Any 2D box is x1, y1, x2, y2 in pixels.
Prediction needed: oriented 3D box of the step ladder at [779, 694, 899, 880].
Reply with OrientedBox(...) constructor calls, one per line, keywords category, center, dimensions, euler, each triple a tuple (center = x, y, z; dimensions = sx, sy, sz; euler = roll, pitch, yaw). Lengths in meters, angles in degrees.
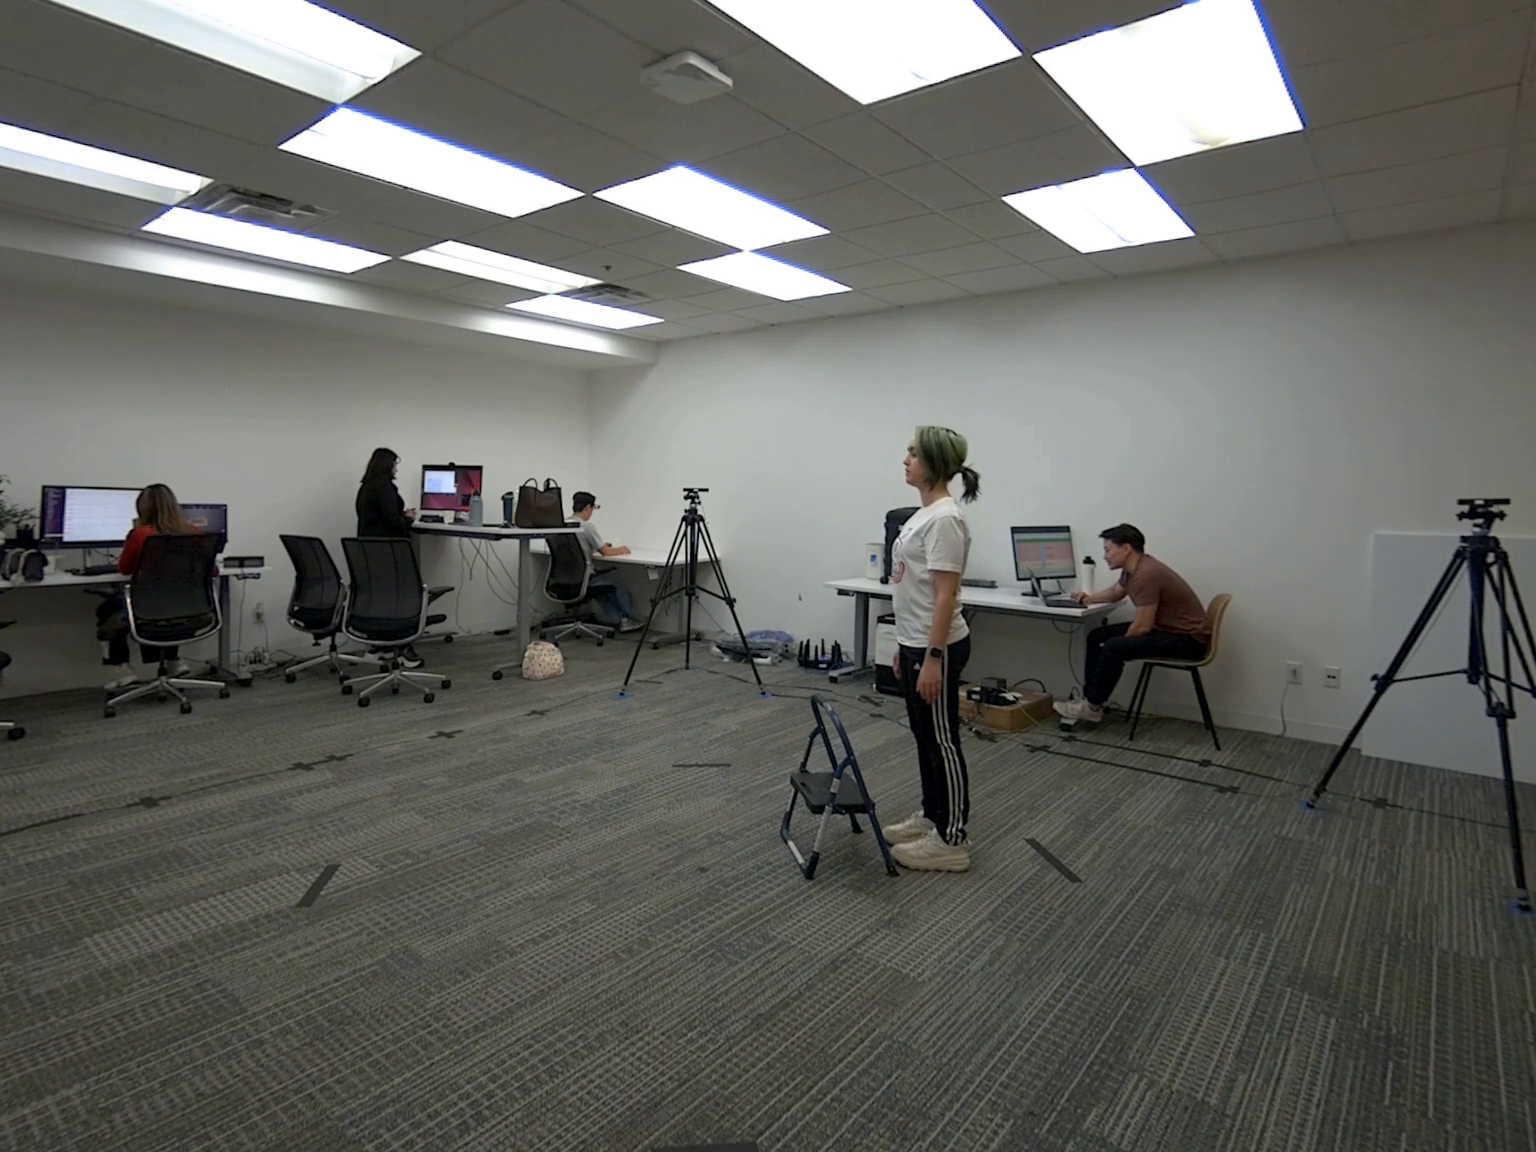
OrientedBox(category="step ladder", center=(0.258, 0.767, 3.261), dimensions=(0.345, 0.604, 0.437), euler=(1, 3, -12))
